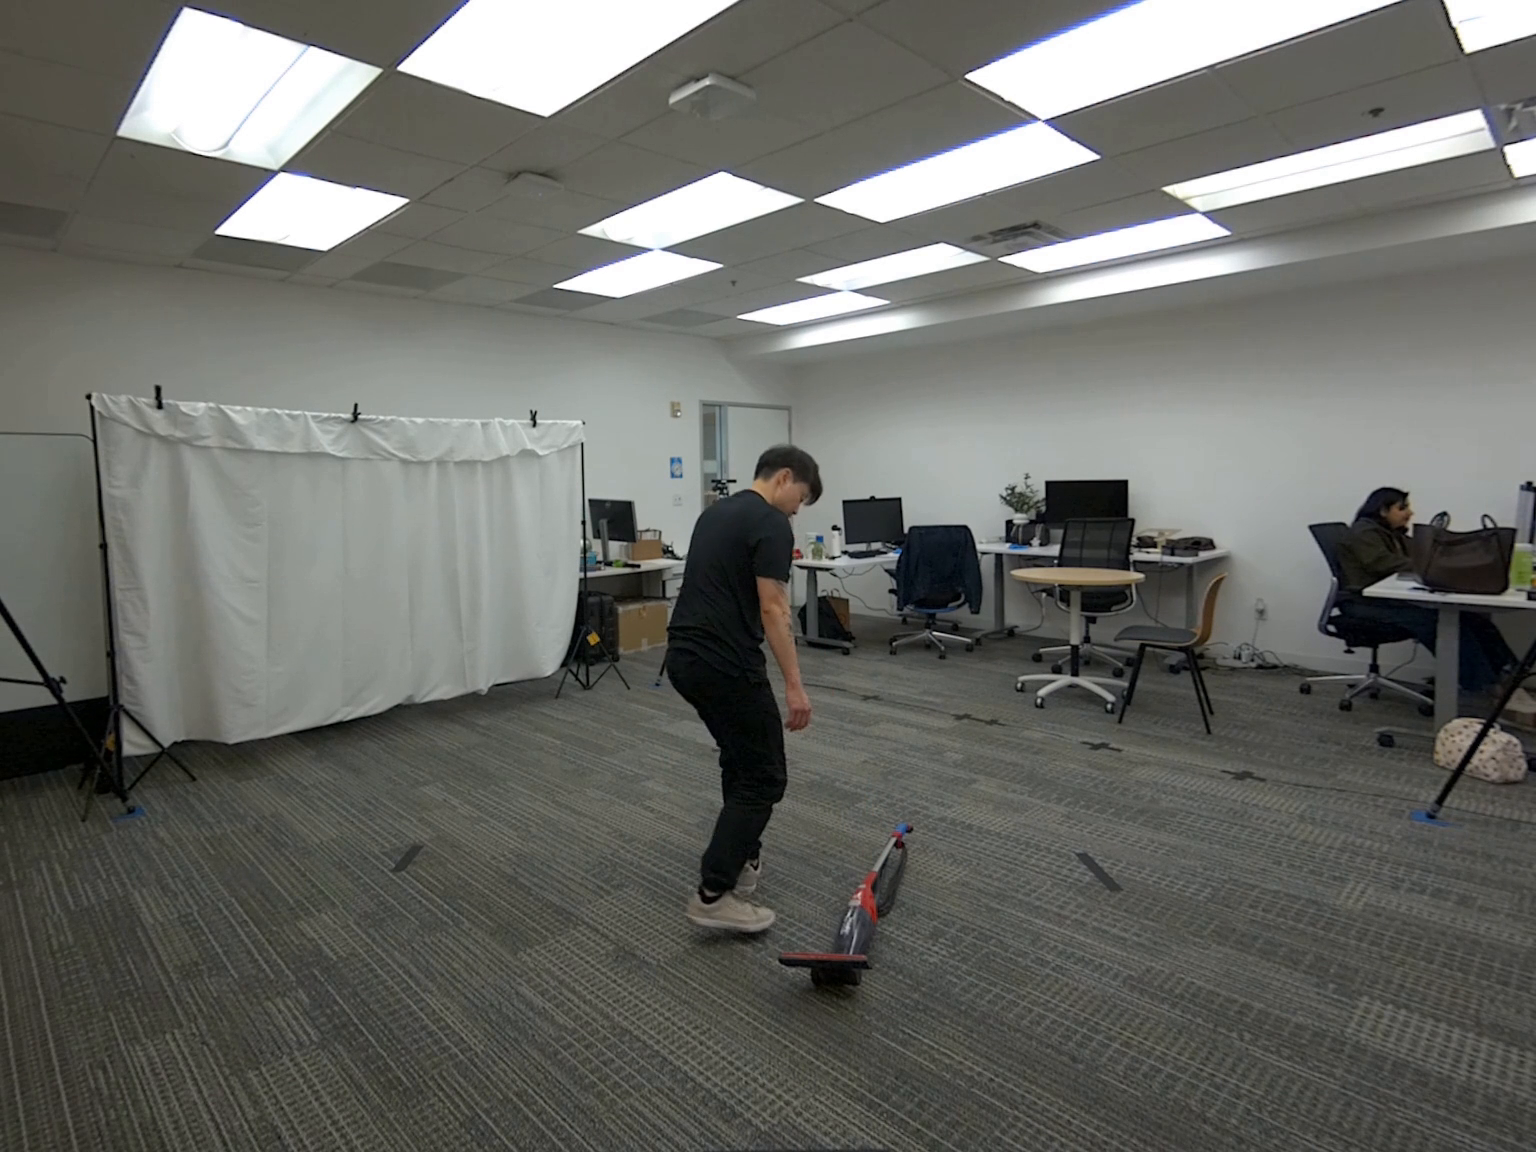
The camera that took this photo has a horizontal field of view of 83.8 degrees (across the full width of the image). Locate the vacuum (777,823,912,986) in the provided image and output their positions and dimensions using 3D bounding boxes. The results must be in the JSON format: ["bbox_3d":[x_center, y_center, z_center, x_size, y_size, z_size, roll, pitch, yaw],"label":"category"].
[{"bbox_3d":[0.356,1.023,2.782,0.257,0.144,1.032,-9,2,22],"label":"vacuum"}]
